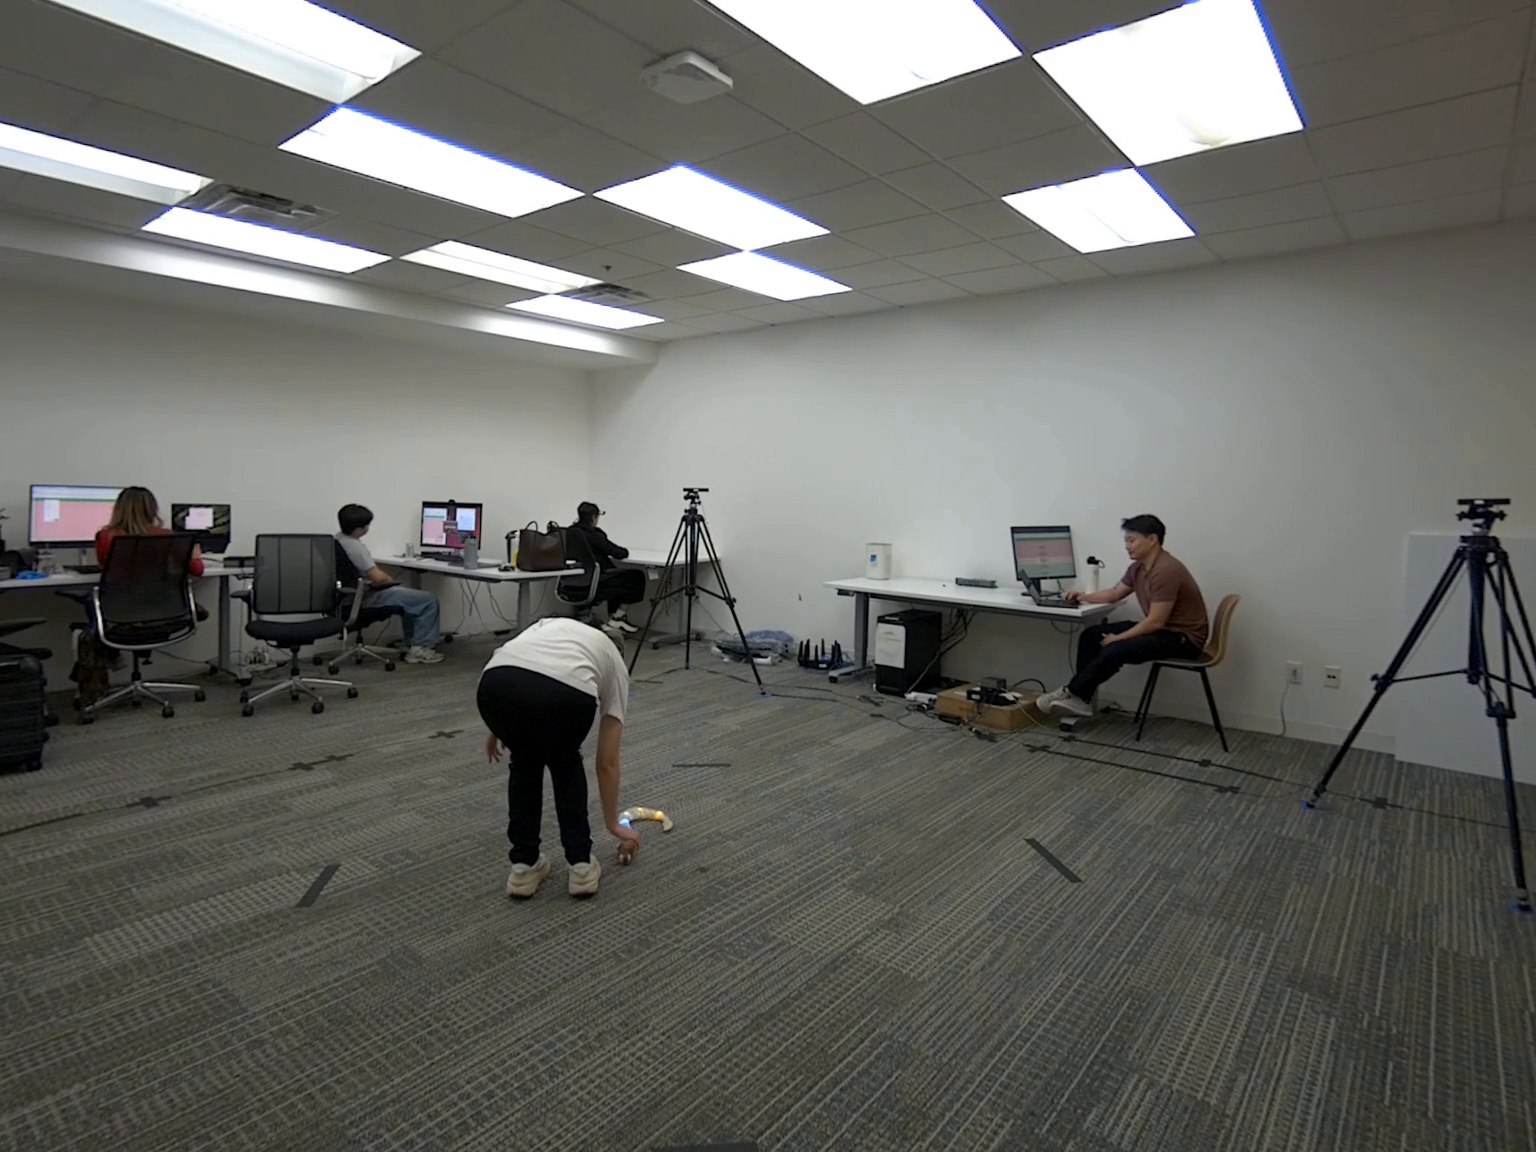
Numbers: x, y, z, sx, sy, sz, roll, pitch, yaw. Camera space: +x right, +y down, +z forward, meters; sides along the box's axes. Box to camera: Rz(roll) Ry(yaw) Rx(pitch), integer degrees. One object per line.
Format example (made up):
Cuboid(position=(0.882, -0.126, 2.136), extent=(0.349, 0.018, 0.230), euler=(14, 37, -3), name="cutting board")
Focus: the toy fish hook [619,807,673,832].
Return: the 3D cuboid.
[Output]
Cuboid(position=(-0.503, 1.014, 3.365), extent=(0.224, 0.048, 0.510), euler=(-1, 6, -3), name="toy fish hook")
